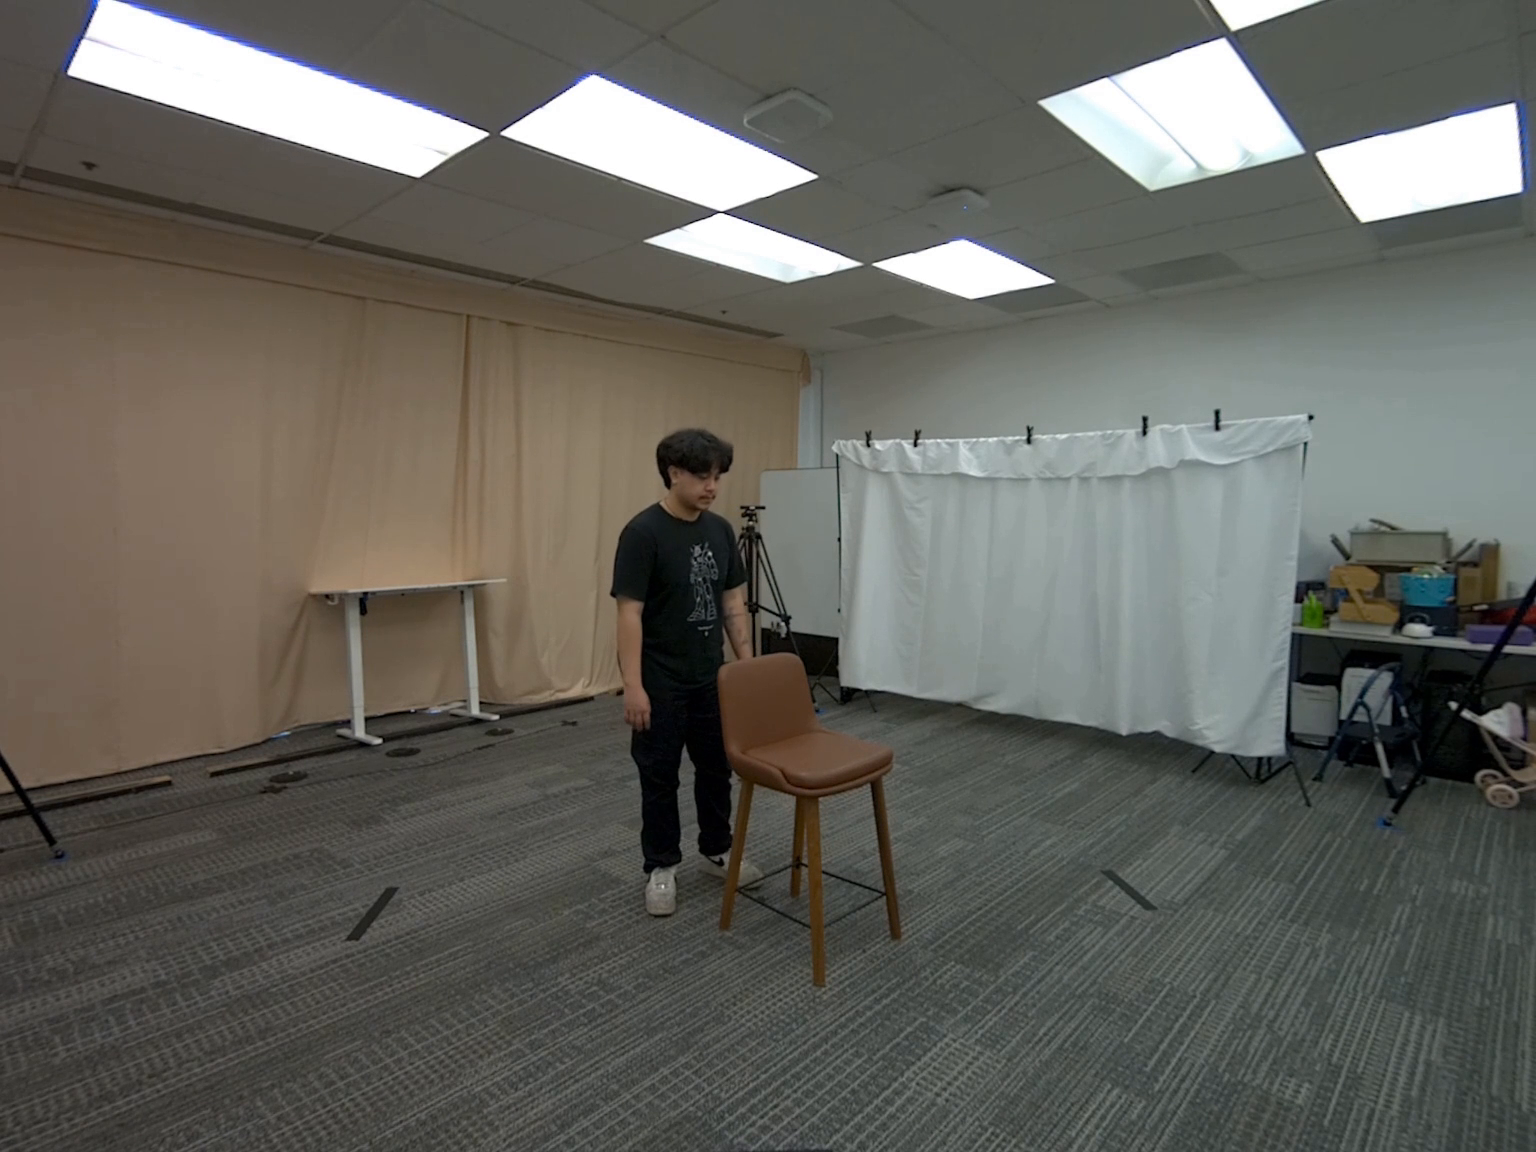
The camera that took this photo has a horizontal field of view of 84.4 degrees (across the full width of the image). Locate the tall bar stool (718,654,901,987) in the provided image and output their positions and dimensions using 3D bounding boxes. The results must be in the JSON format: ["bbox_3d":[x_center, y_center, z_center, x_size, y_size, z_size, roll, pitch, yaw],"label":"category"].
[{"bbox_3d":[0.127,0.728,2.720,0.442,0.889,0.483,-3,2,-44],"label":"tall bar stool"}]
